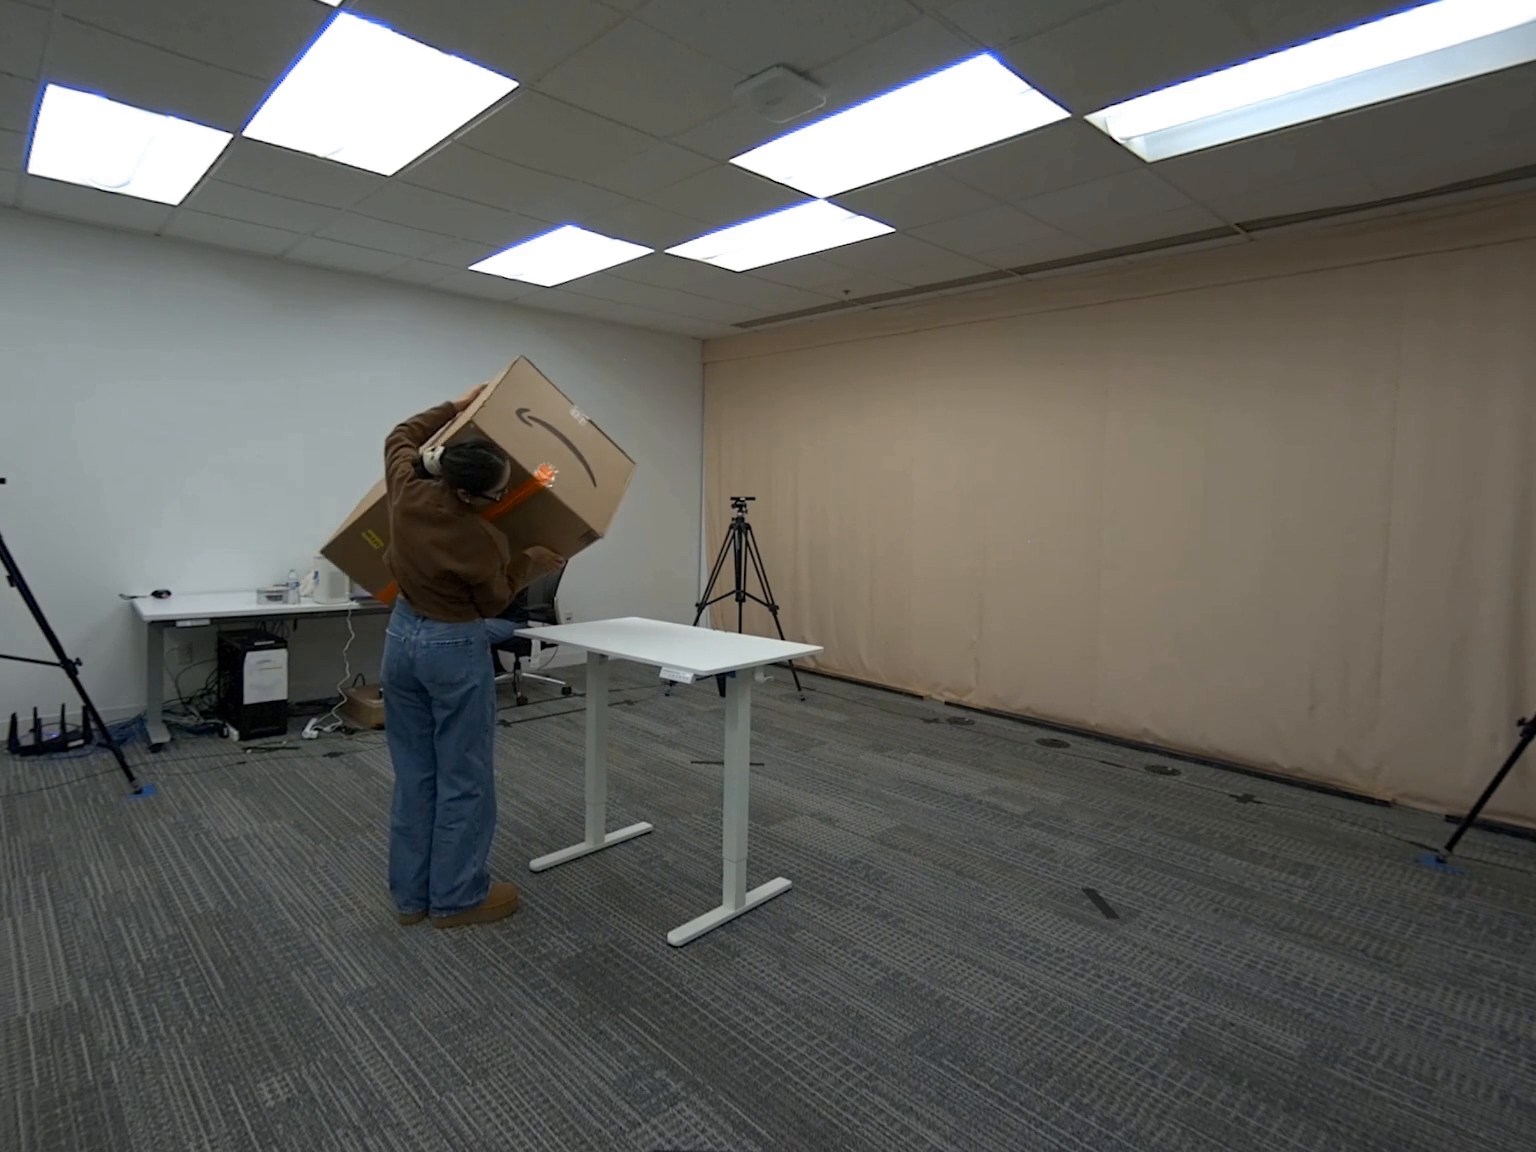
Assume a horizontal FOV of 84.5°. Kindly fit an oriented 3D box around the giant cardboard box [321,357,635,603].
[{"bbox_3d":[-1.083,-0.238,3.132,1.035,0.564,0.432,-28,30,33],"label":"giant cardboard box"}]
